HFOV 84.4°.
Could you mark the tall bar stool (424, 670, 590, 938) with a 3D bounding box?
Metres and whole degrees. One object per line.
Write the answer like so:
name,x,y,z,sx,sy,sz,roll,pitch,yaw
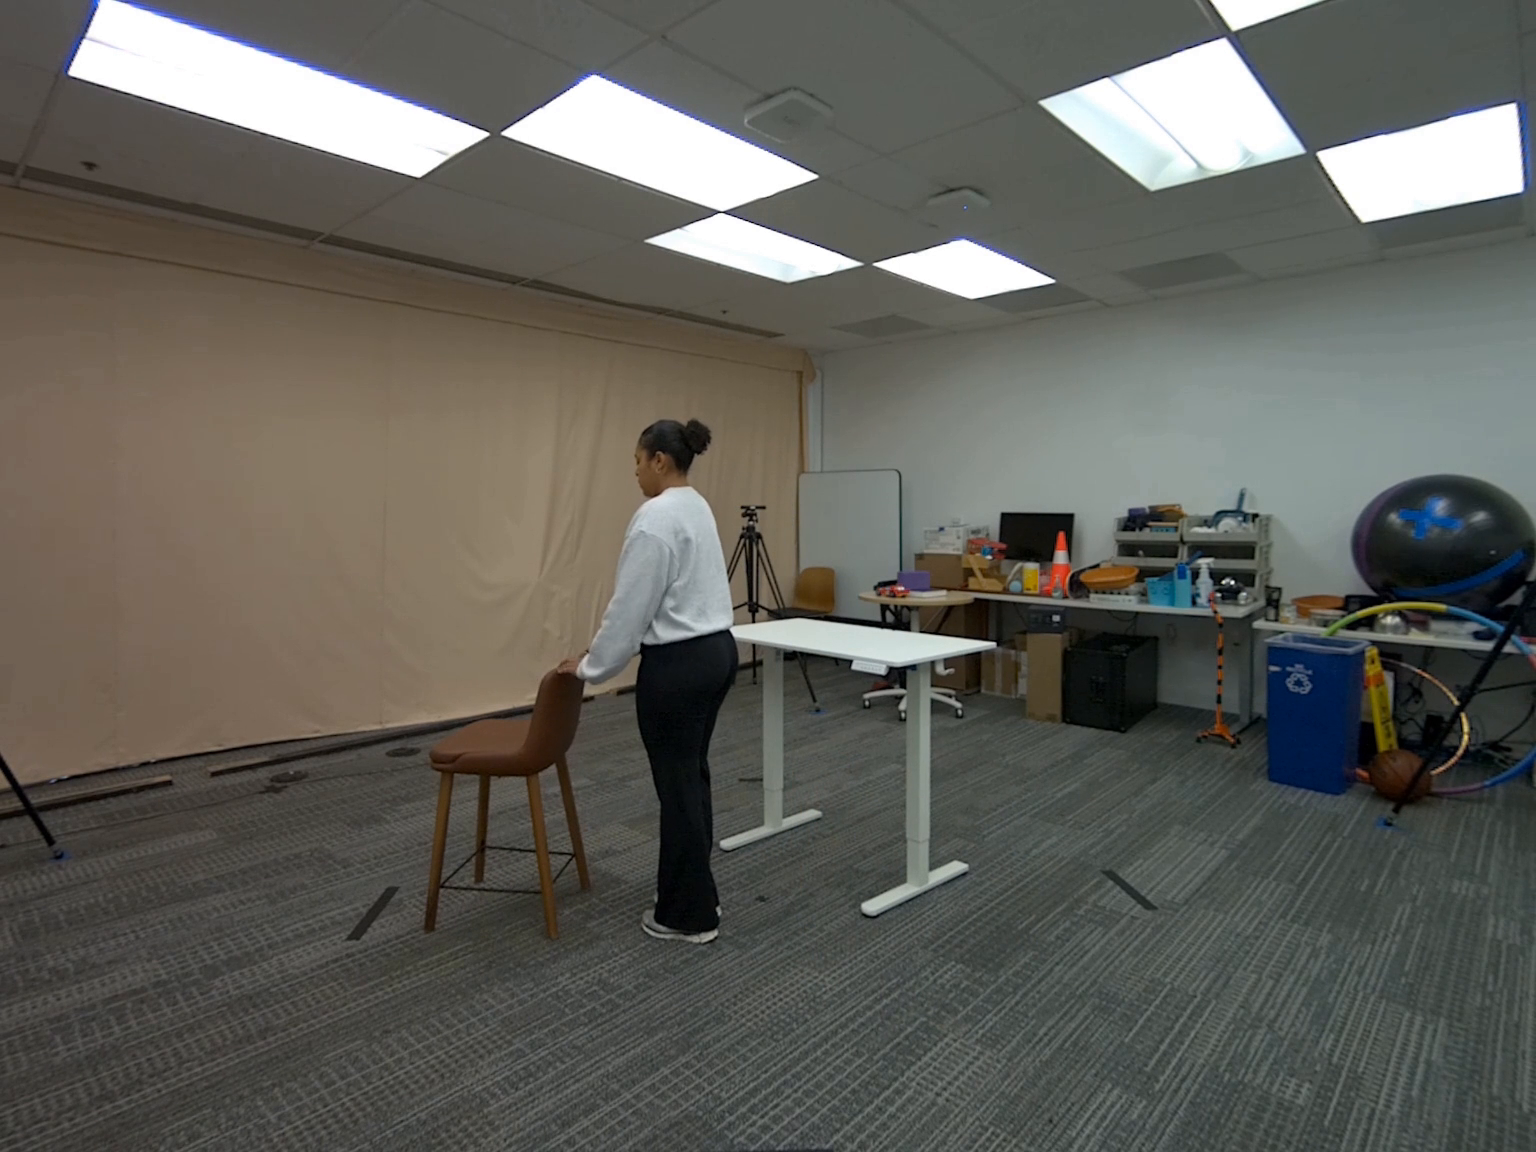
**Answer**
tall bar stool,-0.885,0.723,2.905,0.472,0.888,0.453,2,4,7
